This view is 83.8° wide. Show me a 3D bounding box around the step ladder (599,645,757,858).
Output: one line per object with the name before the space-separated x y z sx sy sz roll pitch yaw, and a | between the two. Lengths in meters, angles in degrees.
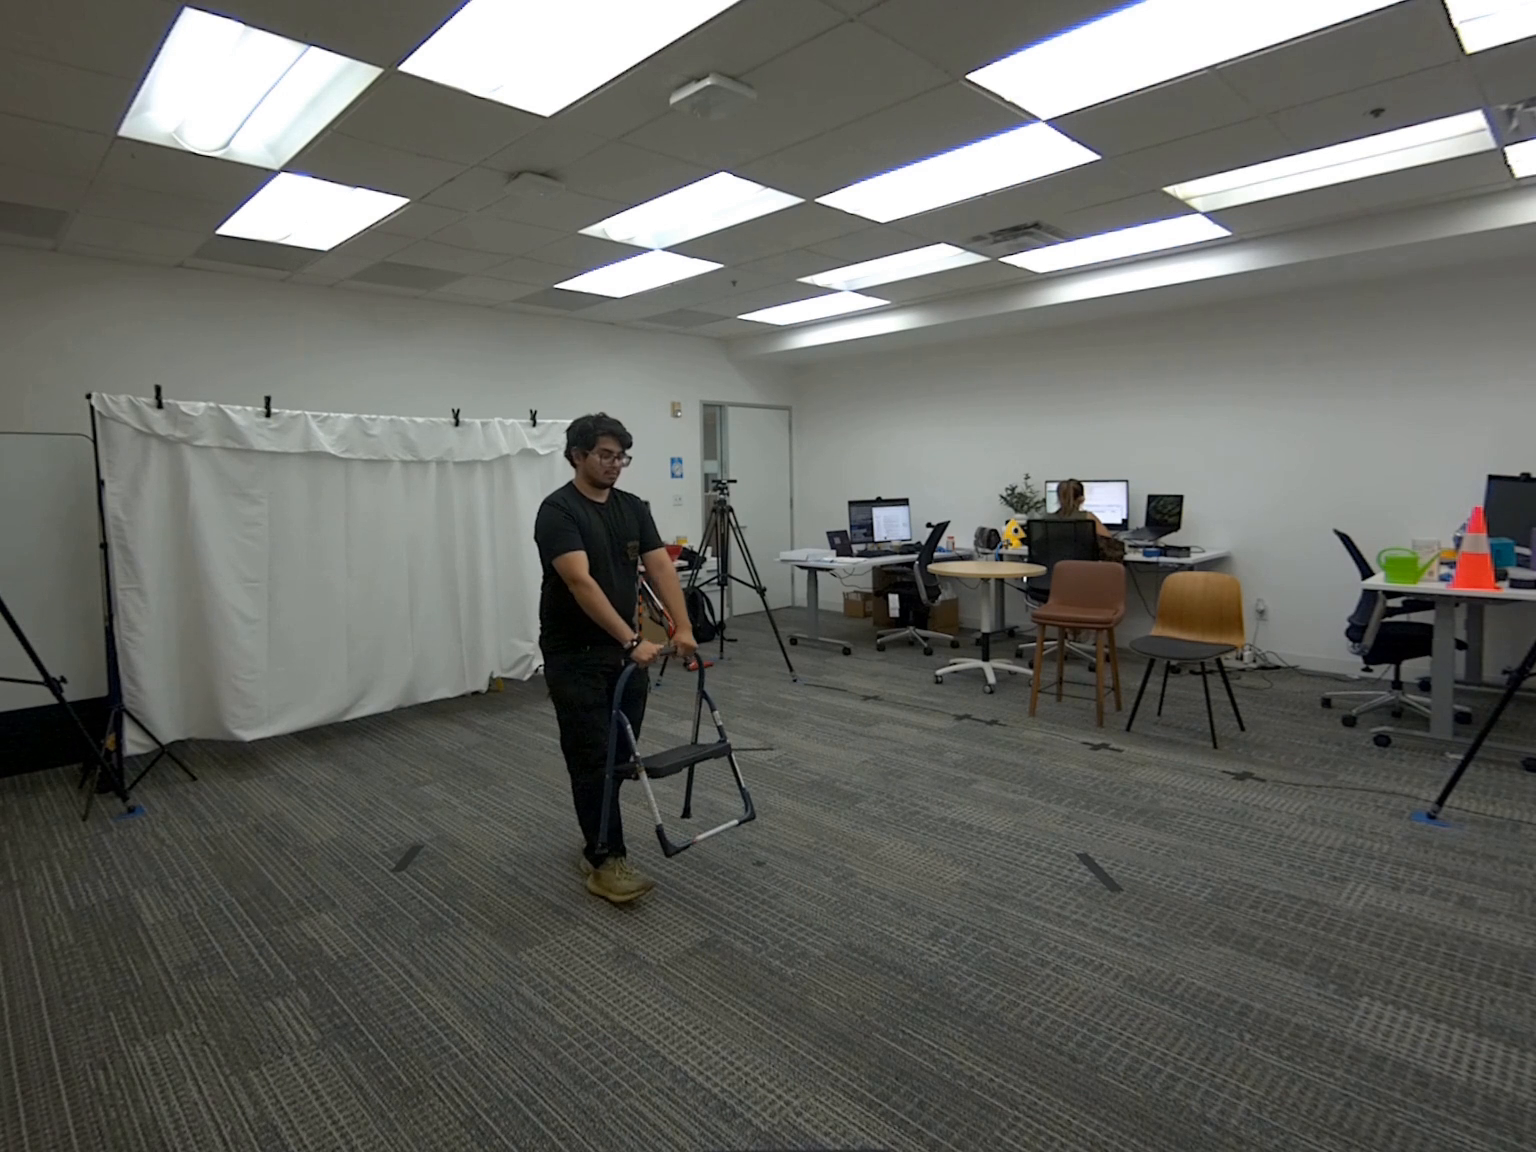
step ladder | -0.342 0.553 2.815 0.356 0.610 0.419 -15 -7 39
